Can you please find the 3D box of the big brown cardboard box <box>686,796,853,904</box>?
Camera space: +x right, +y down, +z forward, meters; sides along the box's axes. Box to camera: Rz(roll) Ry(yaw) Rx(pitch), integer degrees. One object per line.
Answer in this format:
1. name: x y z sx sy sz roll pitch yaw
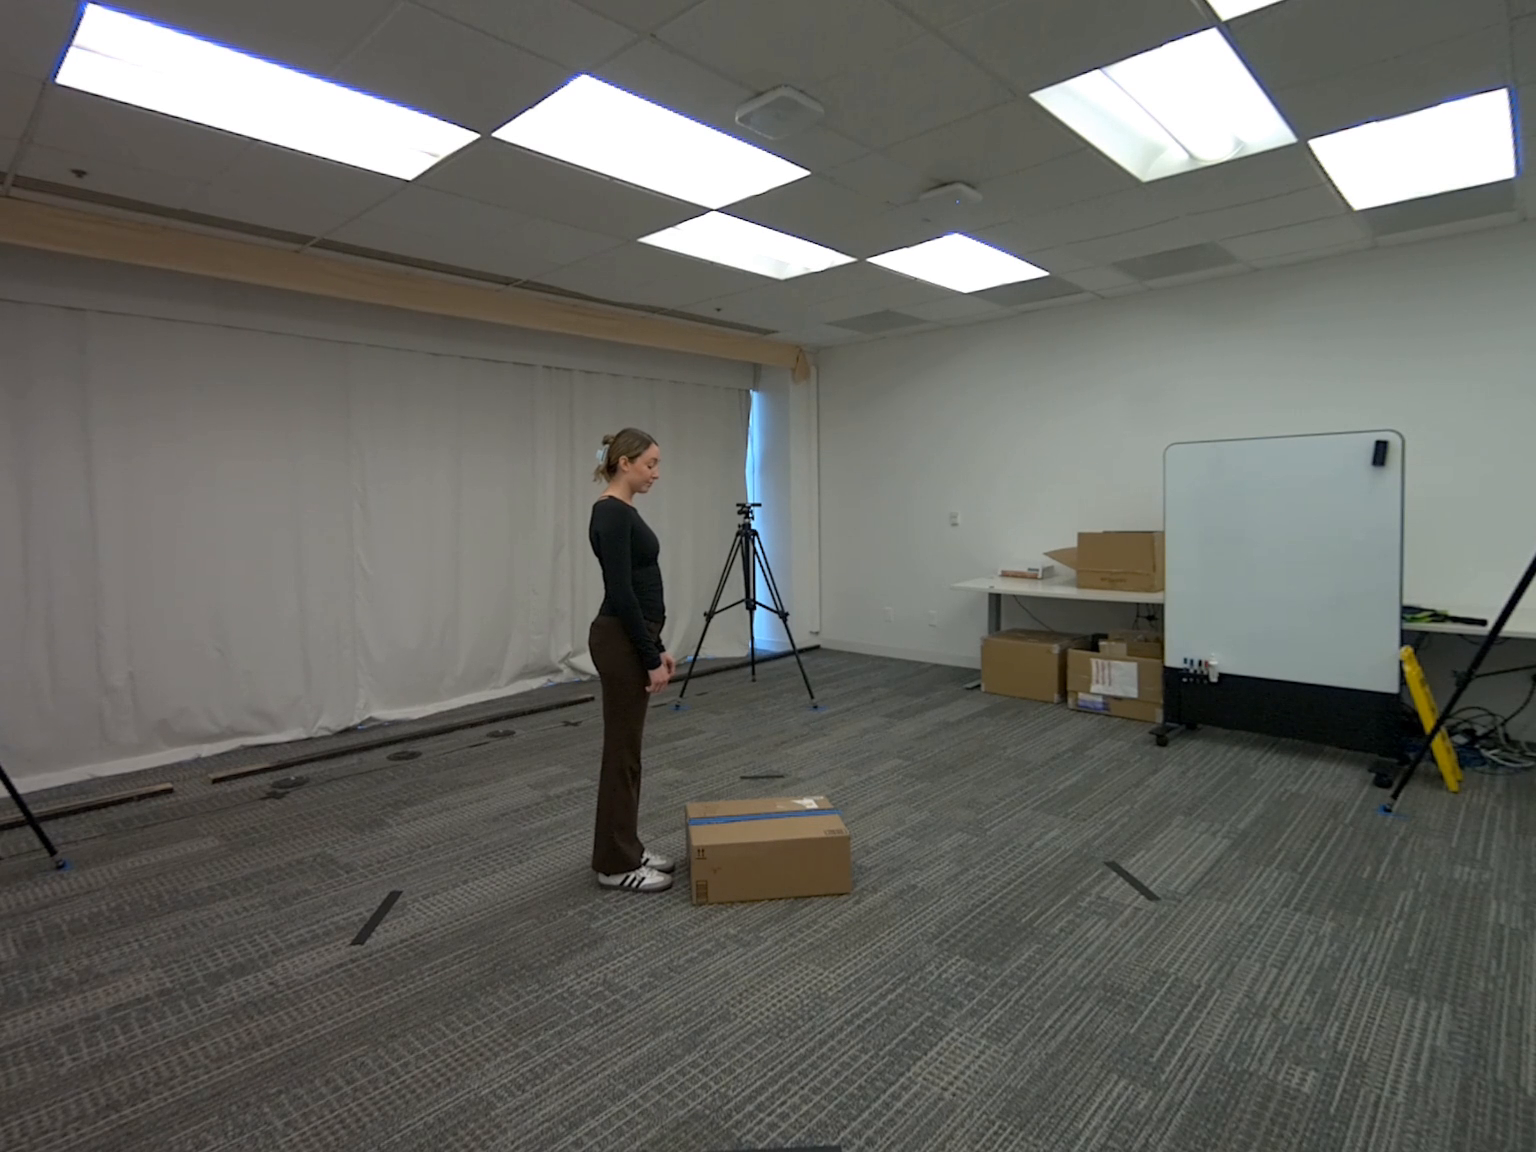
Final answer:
1. big brown cardboard box: -0.008 1.008 3.147 0.585 0.232 0.422 -3 5 -7
